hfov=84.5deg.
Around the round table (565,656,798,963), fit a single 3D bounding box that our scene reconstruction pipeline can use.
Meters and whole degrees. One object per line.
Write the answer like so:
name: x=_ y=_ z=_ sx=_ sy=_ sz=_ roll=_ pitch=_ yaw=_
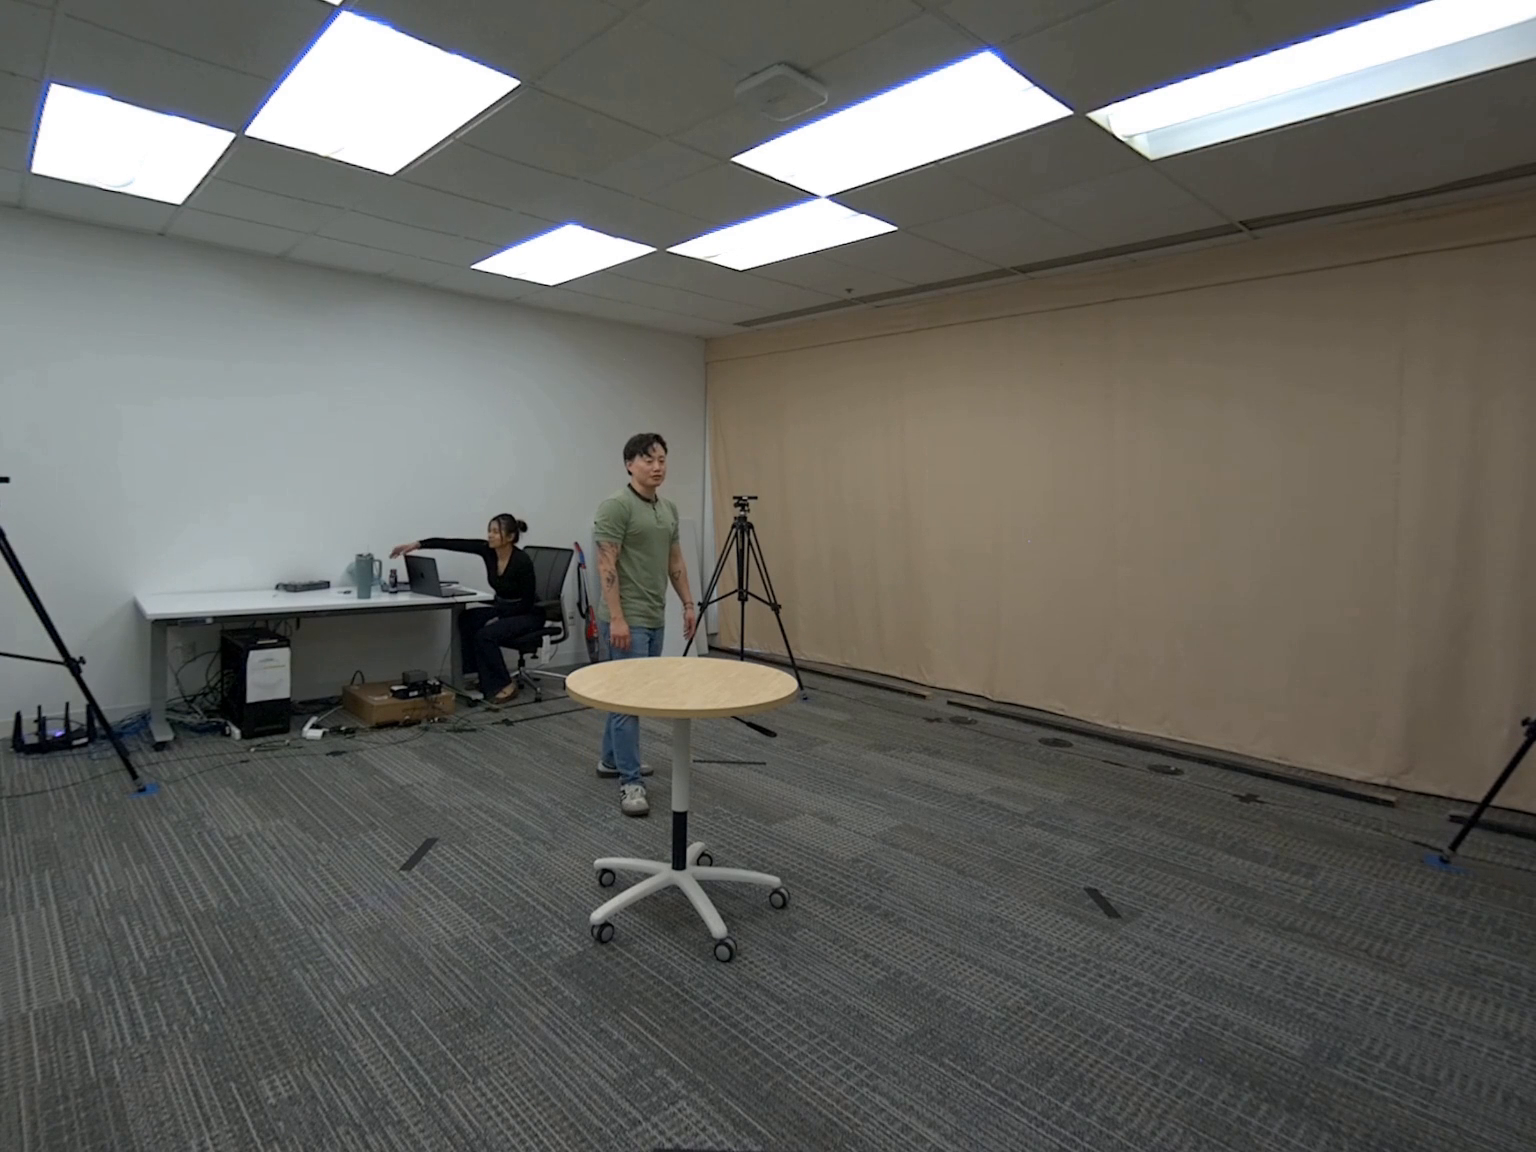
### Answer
round table: x=-0.297 y=0.739 z=2.817 sx=0.763 sy=0.792 sz=0.767 roll=1 pitch=4 yaw=-1
